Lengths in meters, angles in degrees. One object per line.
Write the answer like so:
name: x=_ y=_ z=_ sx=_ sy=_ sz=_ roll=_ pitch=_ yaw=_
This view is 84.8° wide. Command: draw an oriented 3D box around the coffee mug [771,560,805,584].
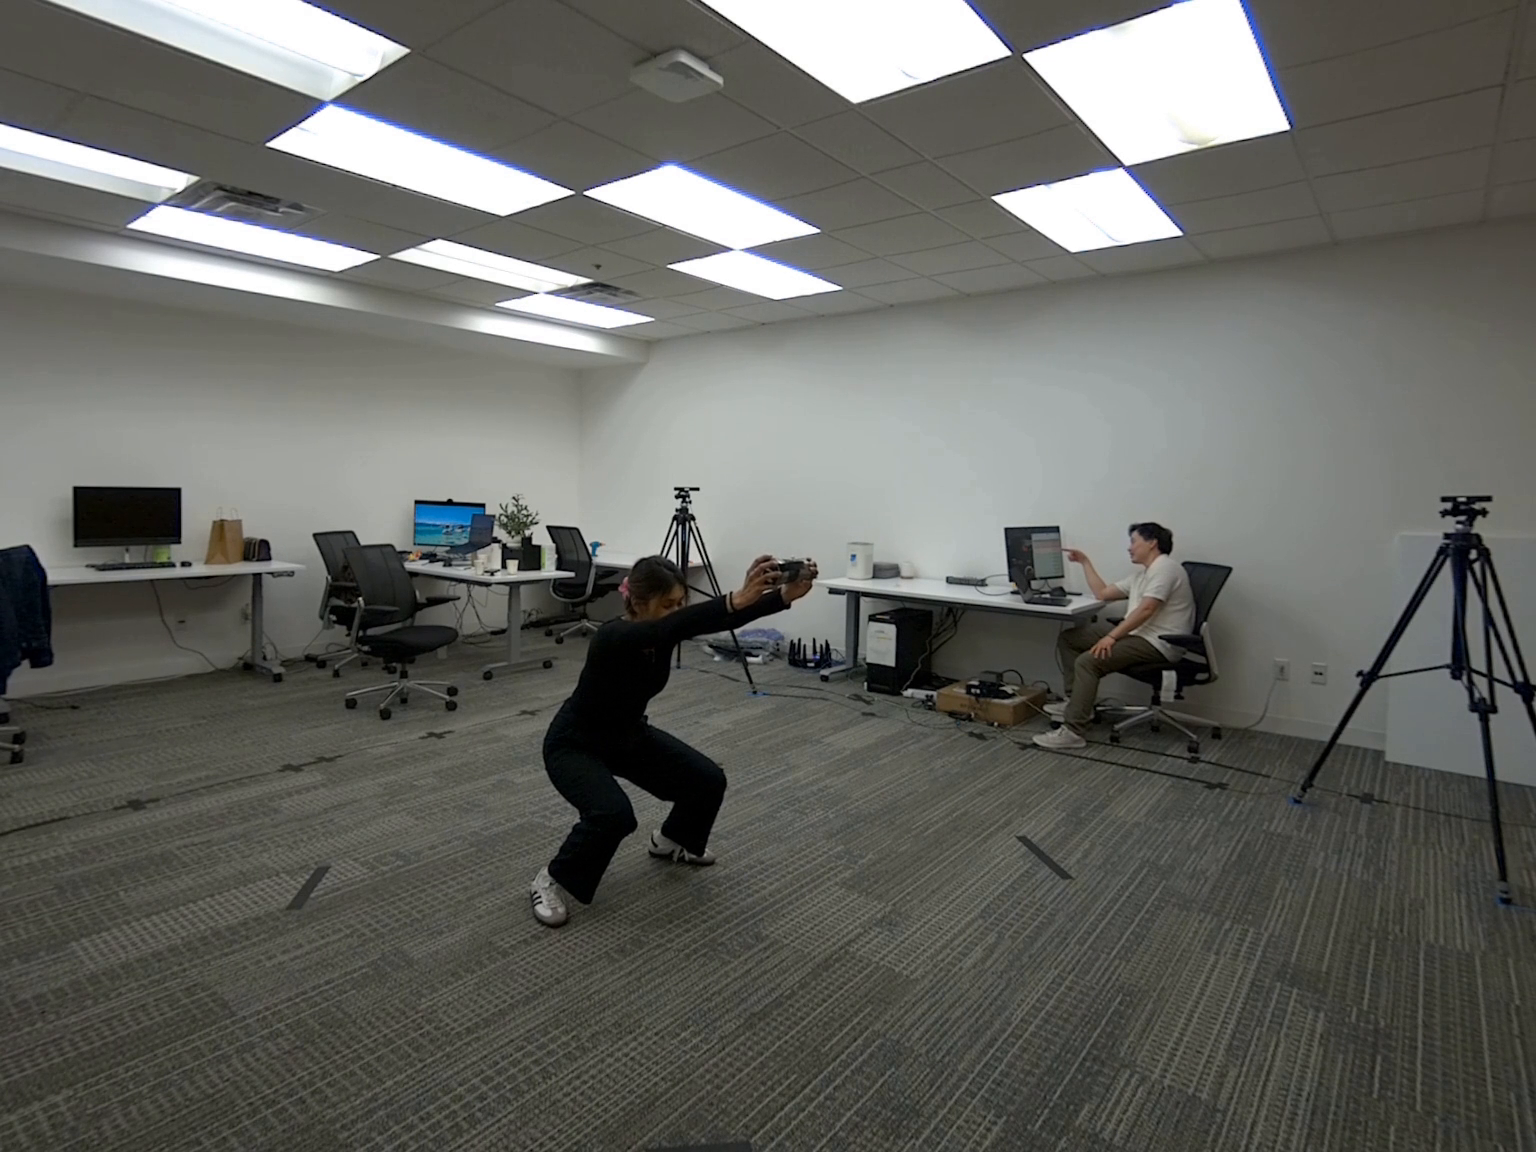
coffee mug: x=0.035 y=-0.006 z=2.435 sx=0.197 sy=0.087 sz=0.126 roll=-3 pitch=10 yaw=-43
